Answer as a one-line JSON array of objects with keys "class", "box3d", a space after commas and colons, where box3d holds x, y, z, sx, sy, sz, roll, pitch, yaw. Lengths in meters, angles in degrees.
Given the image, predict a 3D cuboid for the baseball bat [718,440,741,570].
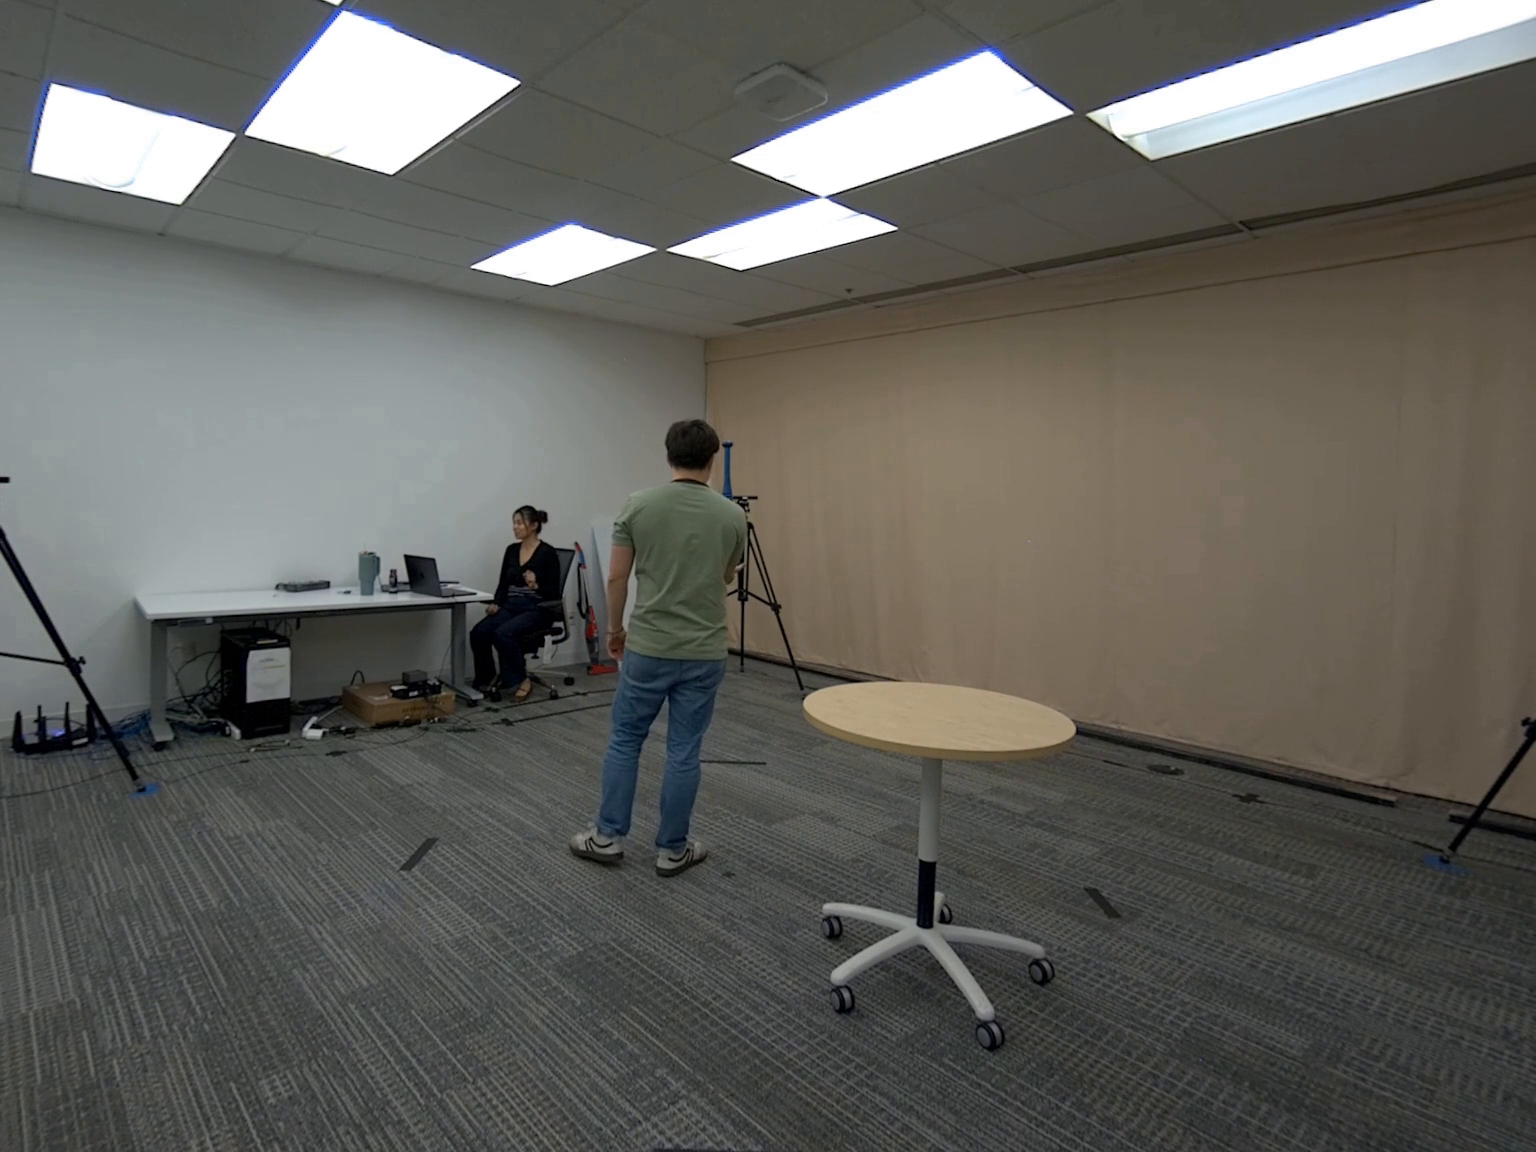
[{"class": "baseball bat", "box3d": [-0.167, -0.303, 3.610, 0.089, 0.543, 0.089, 1, -1, -1]}]
